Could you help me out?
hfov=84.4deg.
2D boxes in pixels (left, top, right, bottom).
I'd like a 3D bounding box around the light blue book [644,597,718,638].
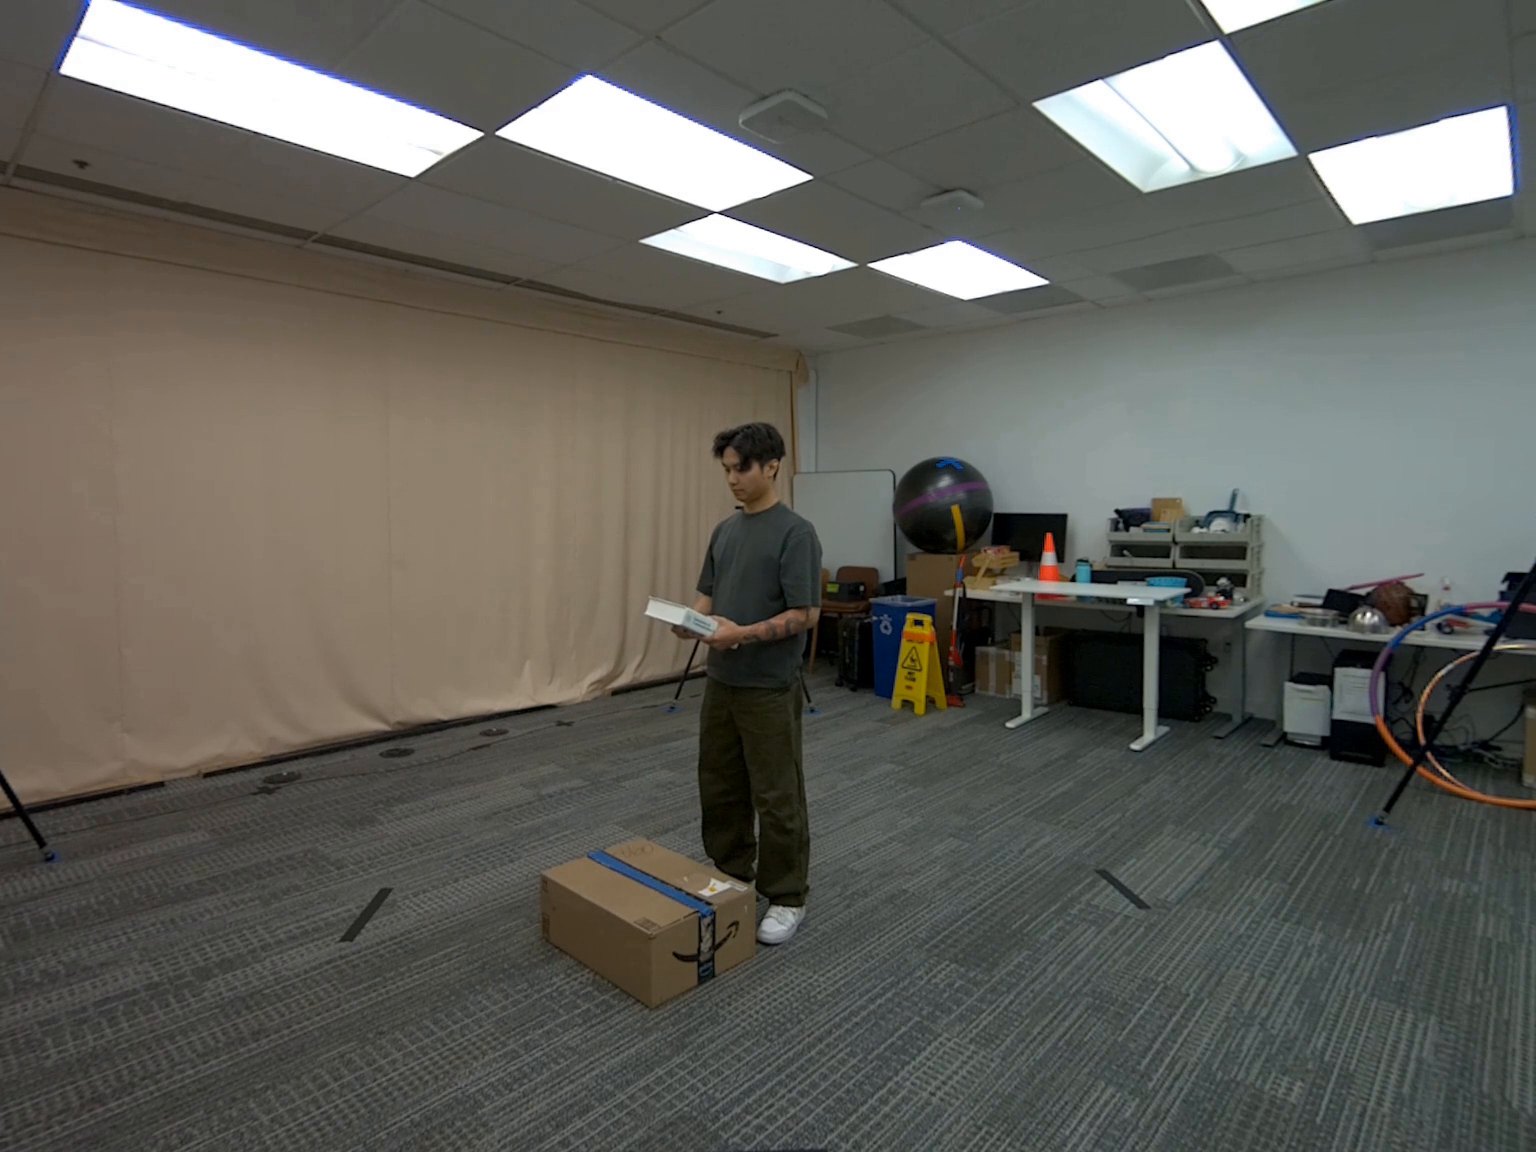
[{"bbox_3d":[-0.255,0.147,2.691,0.198,0.059,0.251,10,-13,42],"label":"light blue book"}]
